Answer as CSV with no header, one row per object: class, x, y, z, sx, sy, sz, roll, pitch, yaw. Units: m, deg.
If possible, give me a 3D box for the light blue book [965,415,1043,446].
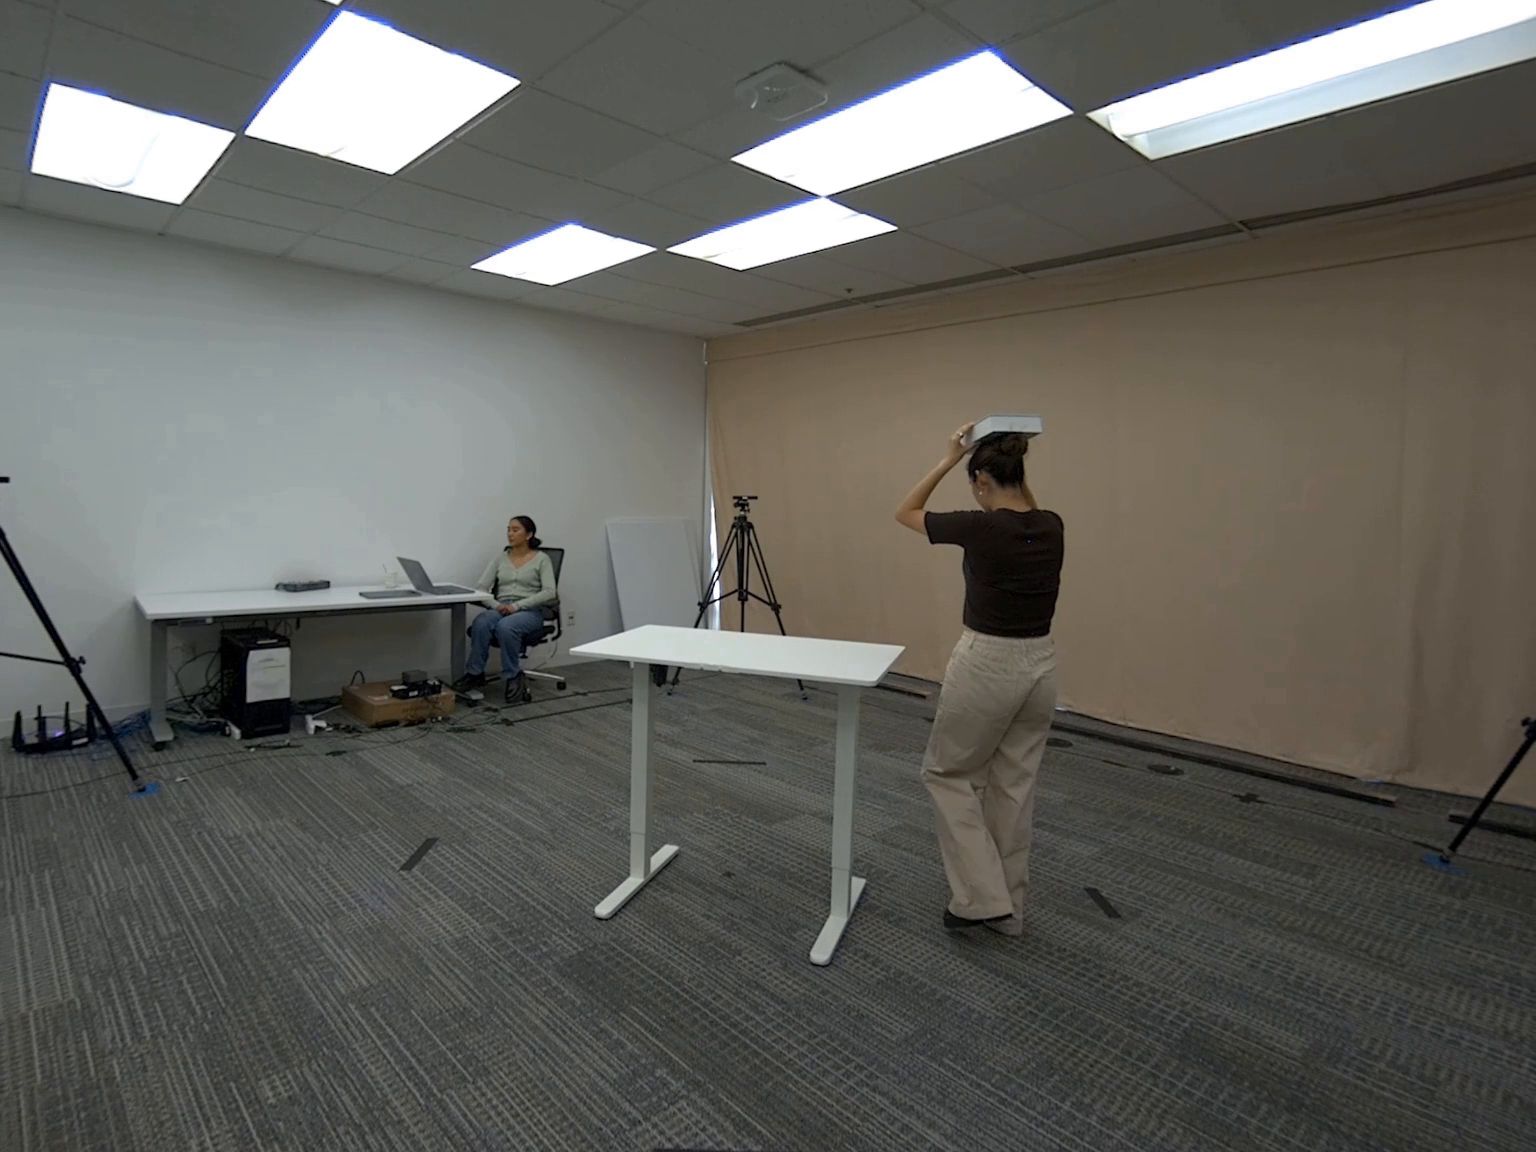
light blue book,0.738,-0.461,2.777,0.189,0.059,0.262,-2,-8,-15
